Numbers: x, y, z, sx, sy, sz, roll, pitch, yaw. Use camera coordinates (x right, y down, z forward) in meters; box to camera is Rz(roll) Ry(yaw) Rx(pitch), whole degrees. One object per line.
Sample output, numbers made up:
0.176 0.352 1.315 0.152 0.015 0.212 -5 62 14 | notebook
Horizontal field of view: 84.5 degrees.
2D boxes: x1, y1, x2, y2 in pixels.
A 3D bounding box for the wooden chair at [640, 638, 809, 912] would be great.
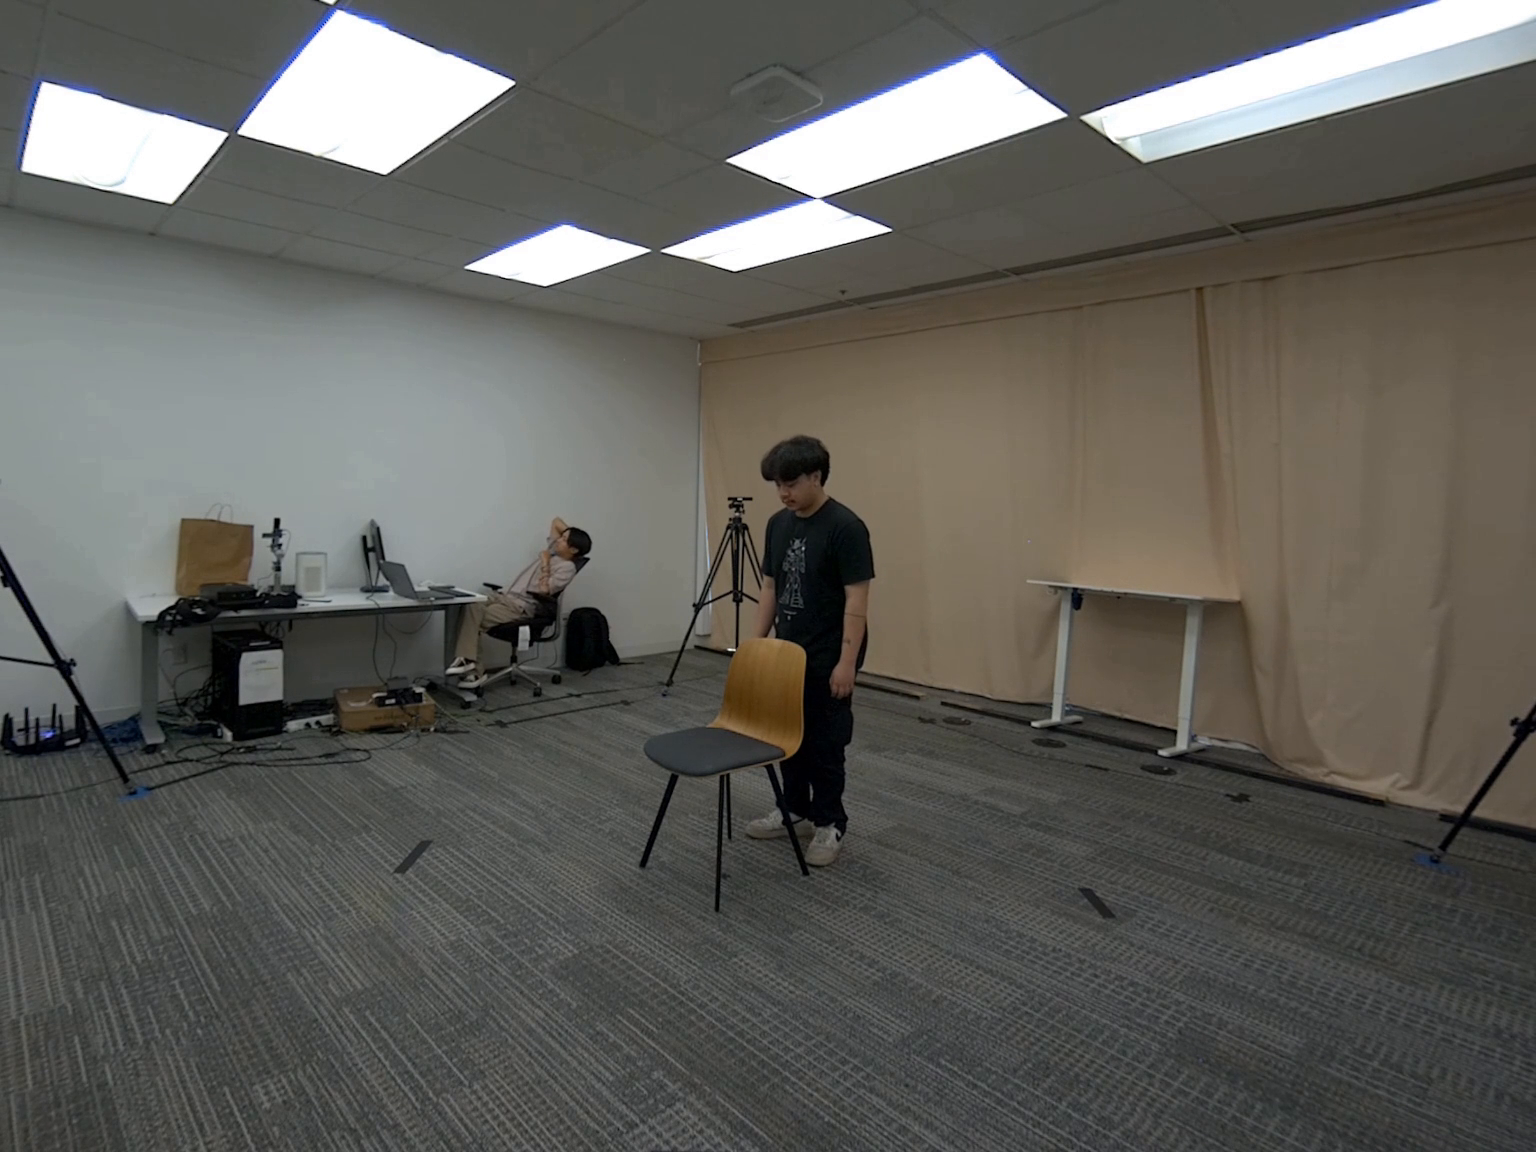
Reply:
-0.166 0.682 3.103 0.510 0.877 0.490 4 0 -43 | wooden chair
